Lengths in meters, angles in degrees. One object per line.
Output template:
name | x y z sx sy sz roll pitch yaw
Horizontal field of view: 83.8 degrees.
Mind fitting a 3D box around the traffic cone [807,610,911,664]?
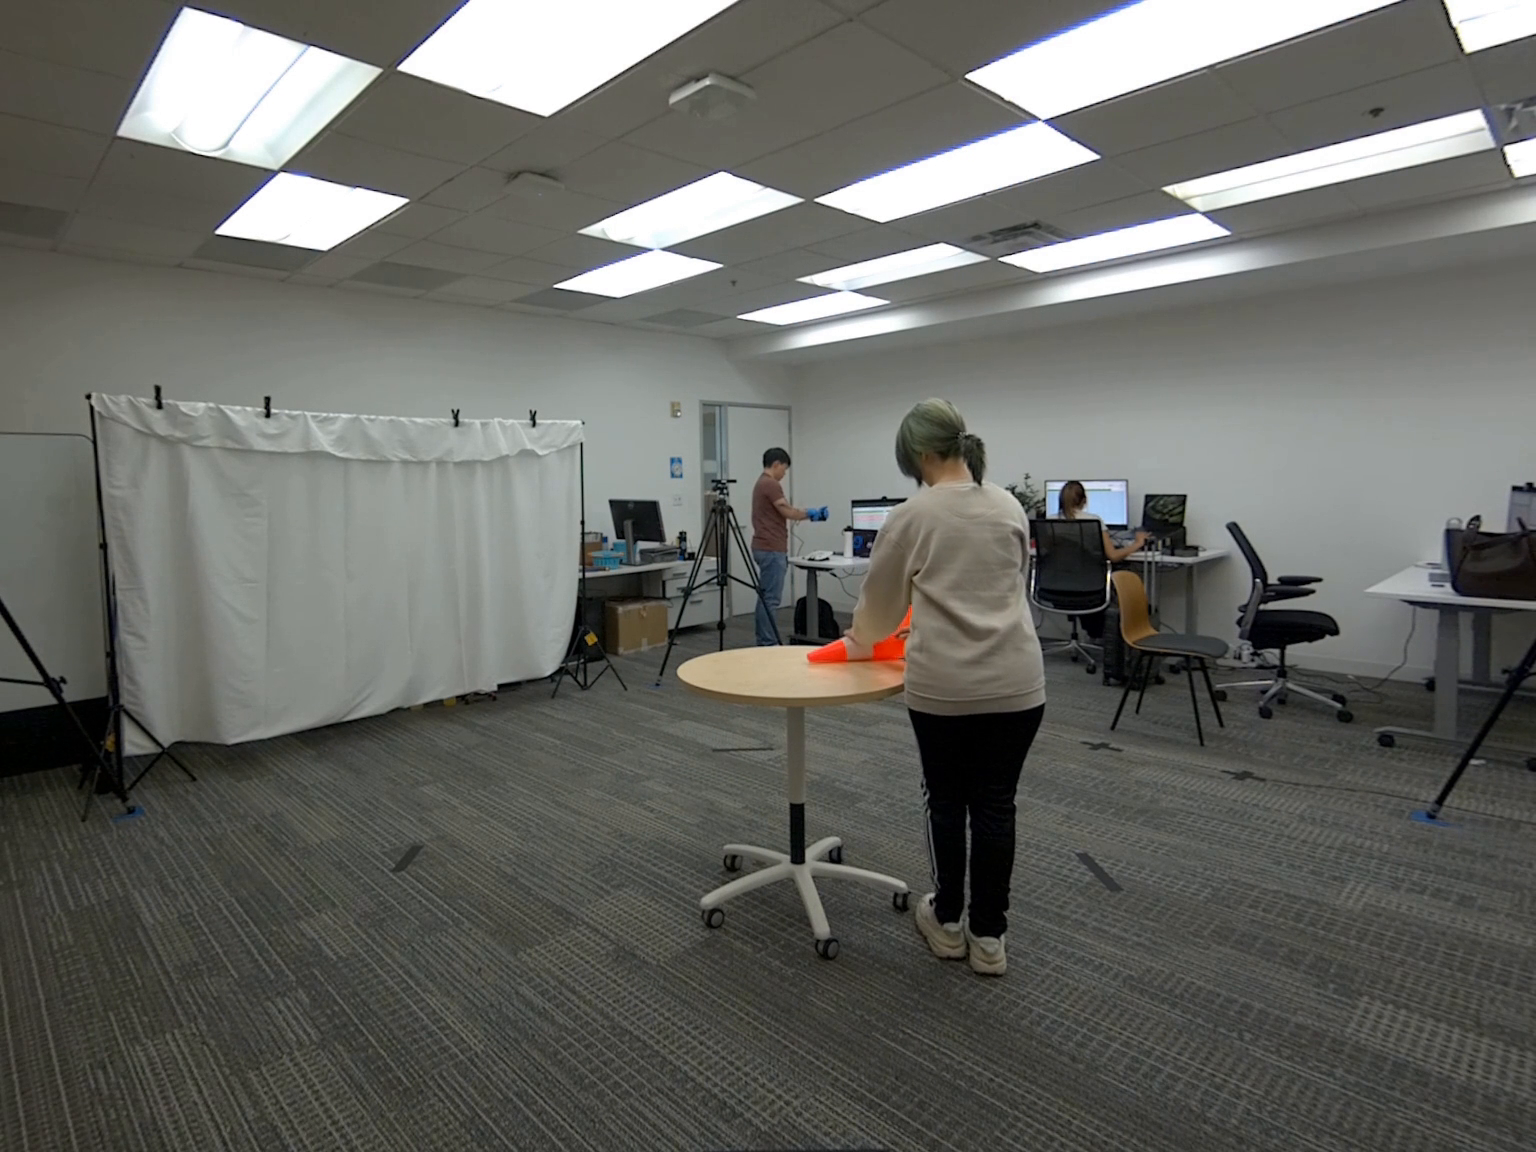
traffic cone | 0.322 0.240 2.880 0.381 0.203 0.207 -12 11 -10
